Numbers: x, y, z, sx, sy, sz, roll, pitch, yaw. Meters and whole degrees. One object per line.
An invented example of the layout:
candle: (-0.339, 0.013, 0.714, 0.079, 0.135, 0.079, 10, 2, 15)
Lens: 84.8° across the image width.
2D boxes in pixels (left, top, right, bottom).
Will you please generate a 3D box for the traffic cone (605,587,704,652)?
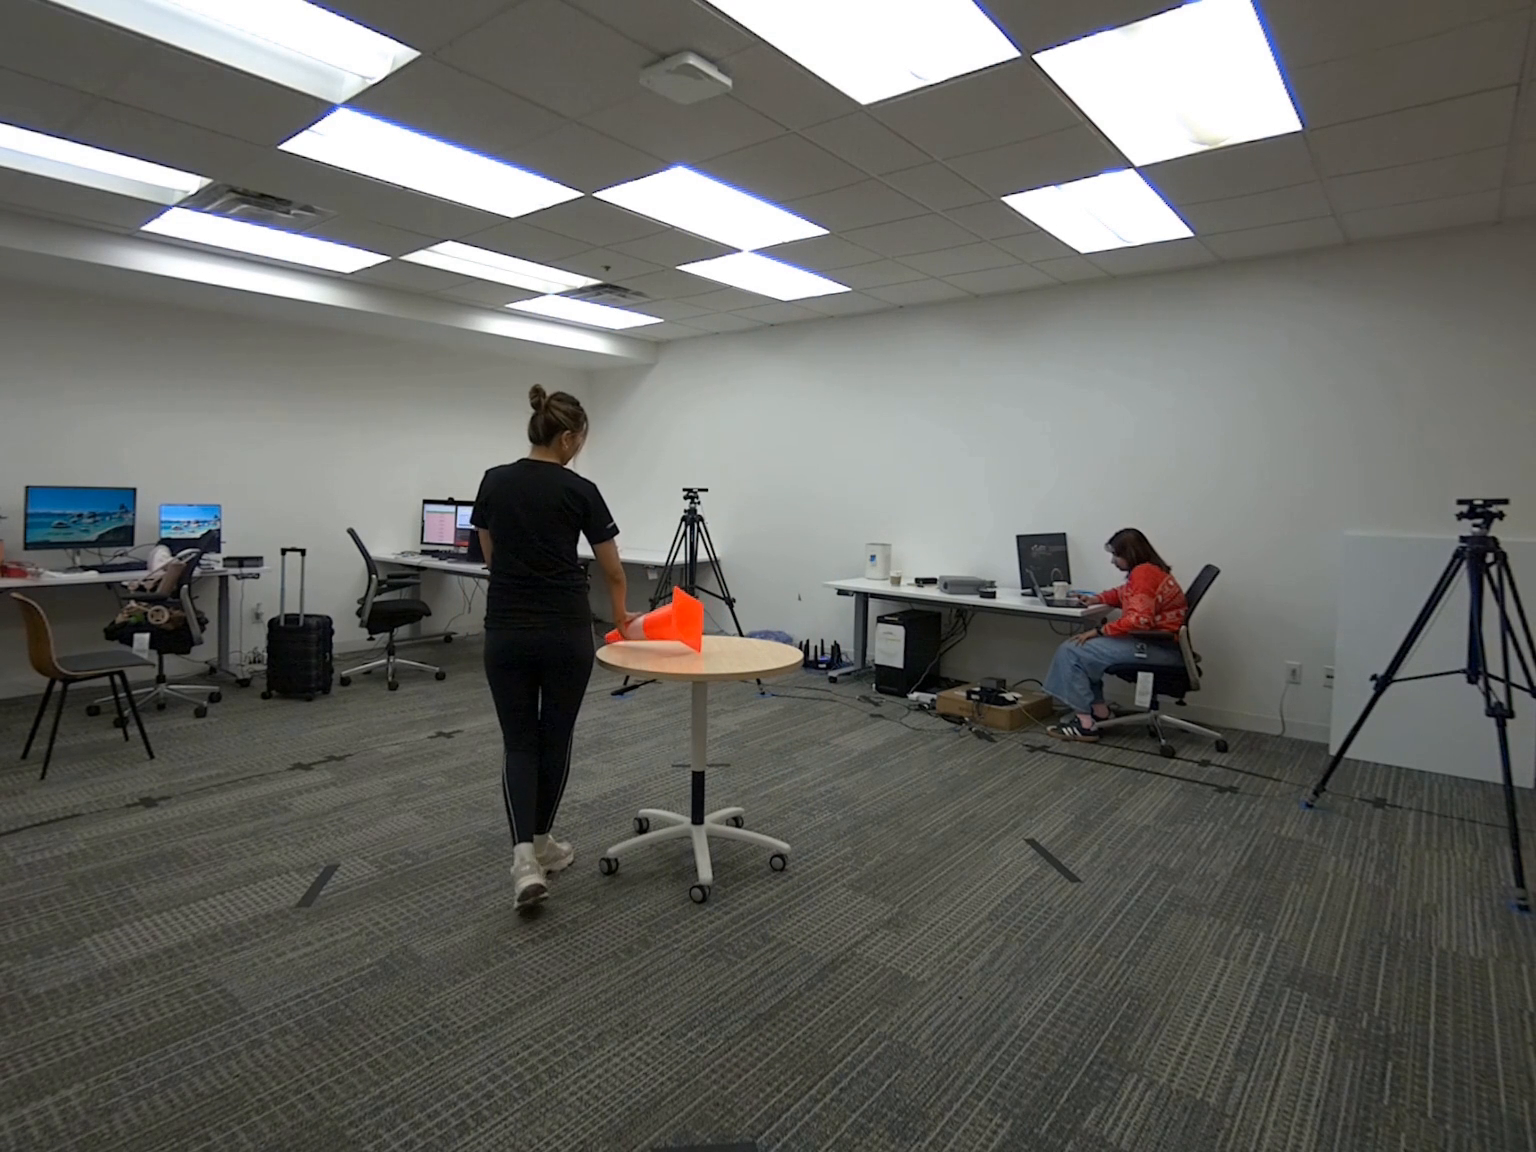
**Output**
traffic cone: (-0.471, 0.199, 3.206, 0.391, 0.208, 0.196, -13, -30, 28)
